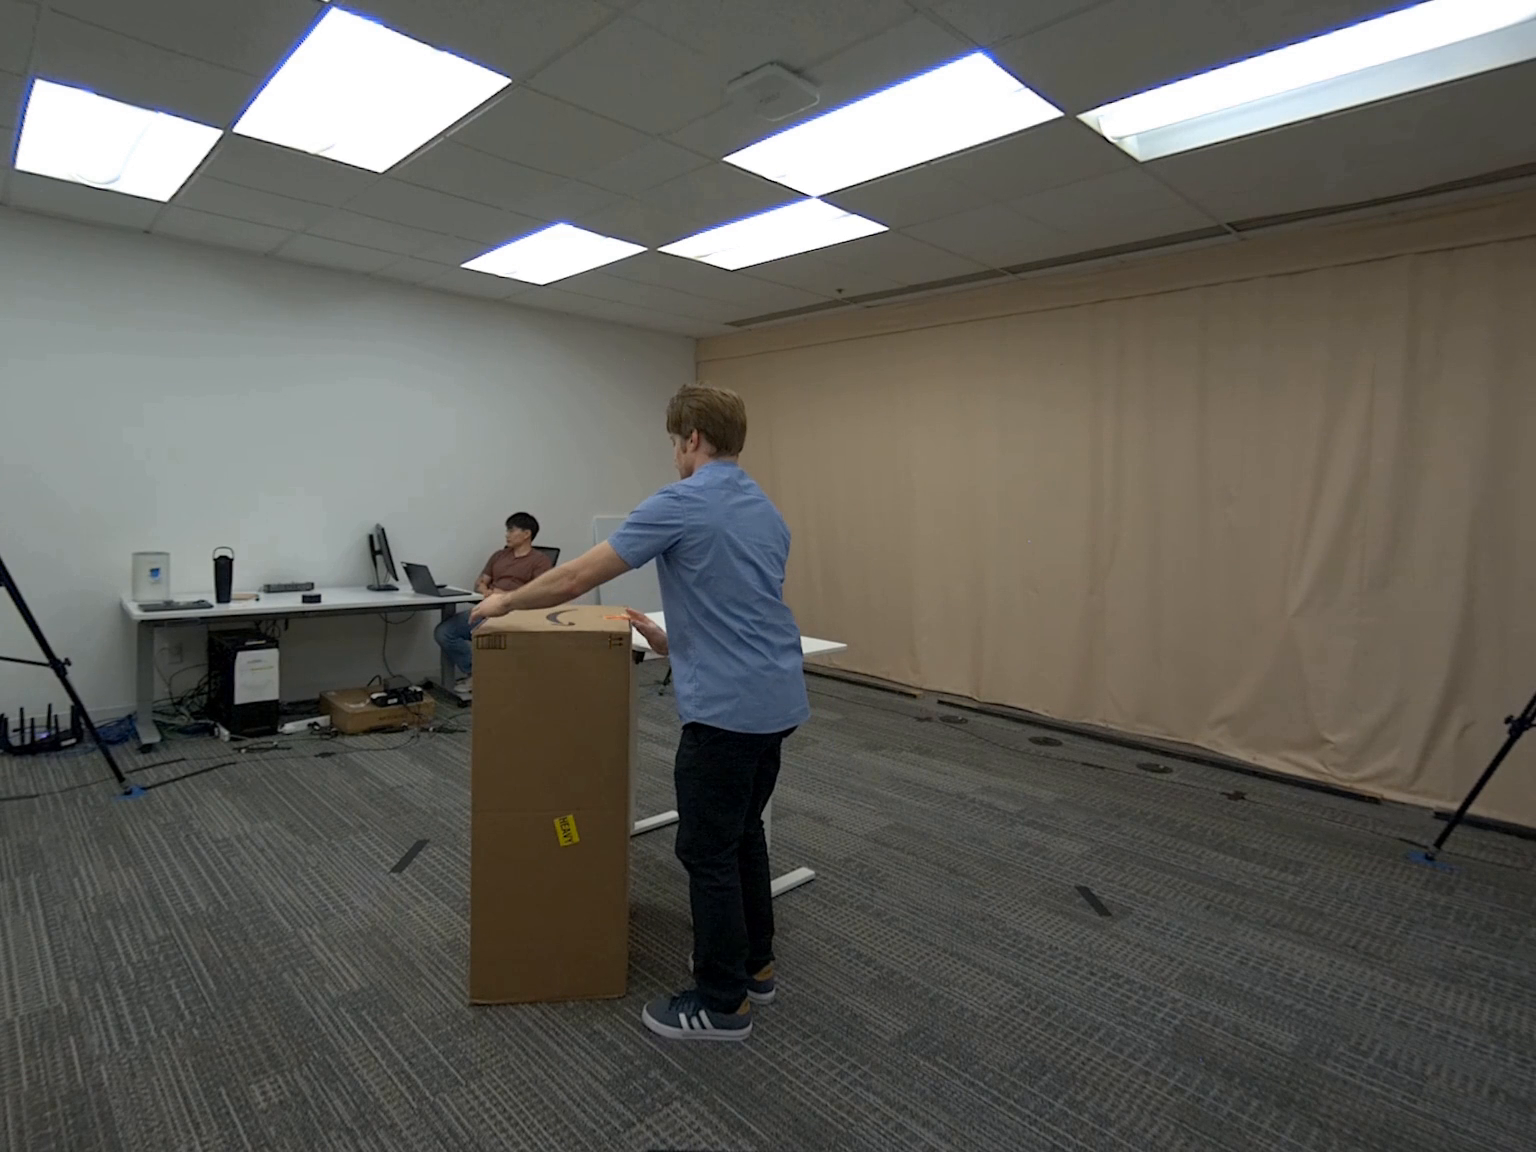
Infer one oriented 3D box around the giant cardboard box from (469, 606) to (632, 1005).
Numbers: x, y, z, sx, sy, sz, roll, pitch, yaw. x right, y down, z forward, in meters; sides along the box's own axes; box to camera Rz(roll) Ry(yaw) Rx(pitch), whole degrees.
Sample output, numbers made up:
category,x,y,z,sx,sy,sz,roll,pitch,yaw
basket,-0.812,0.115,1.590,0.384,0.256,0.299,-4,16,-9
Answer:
category,x,y,z,sx,sy,sz,roll,pitch,yaw
giant cardboard box,-0.643,0.630,2.560,0.423,1.024,0.582,1,2,-9
